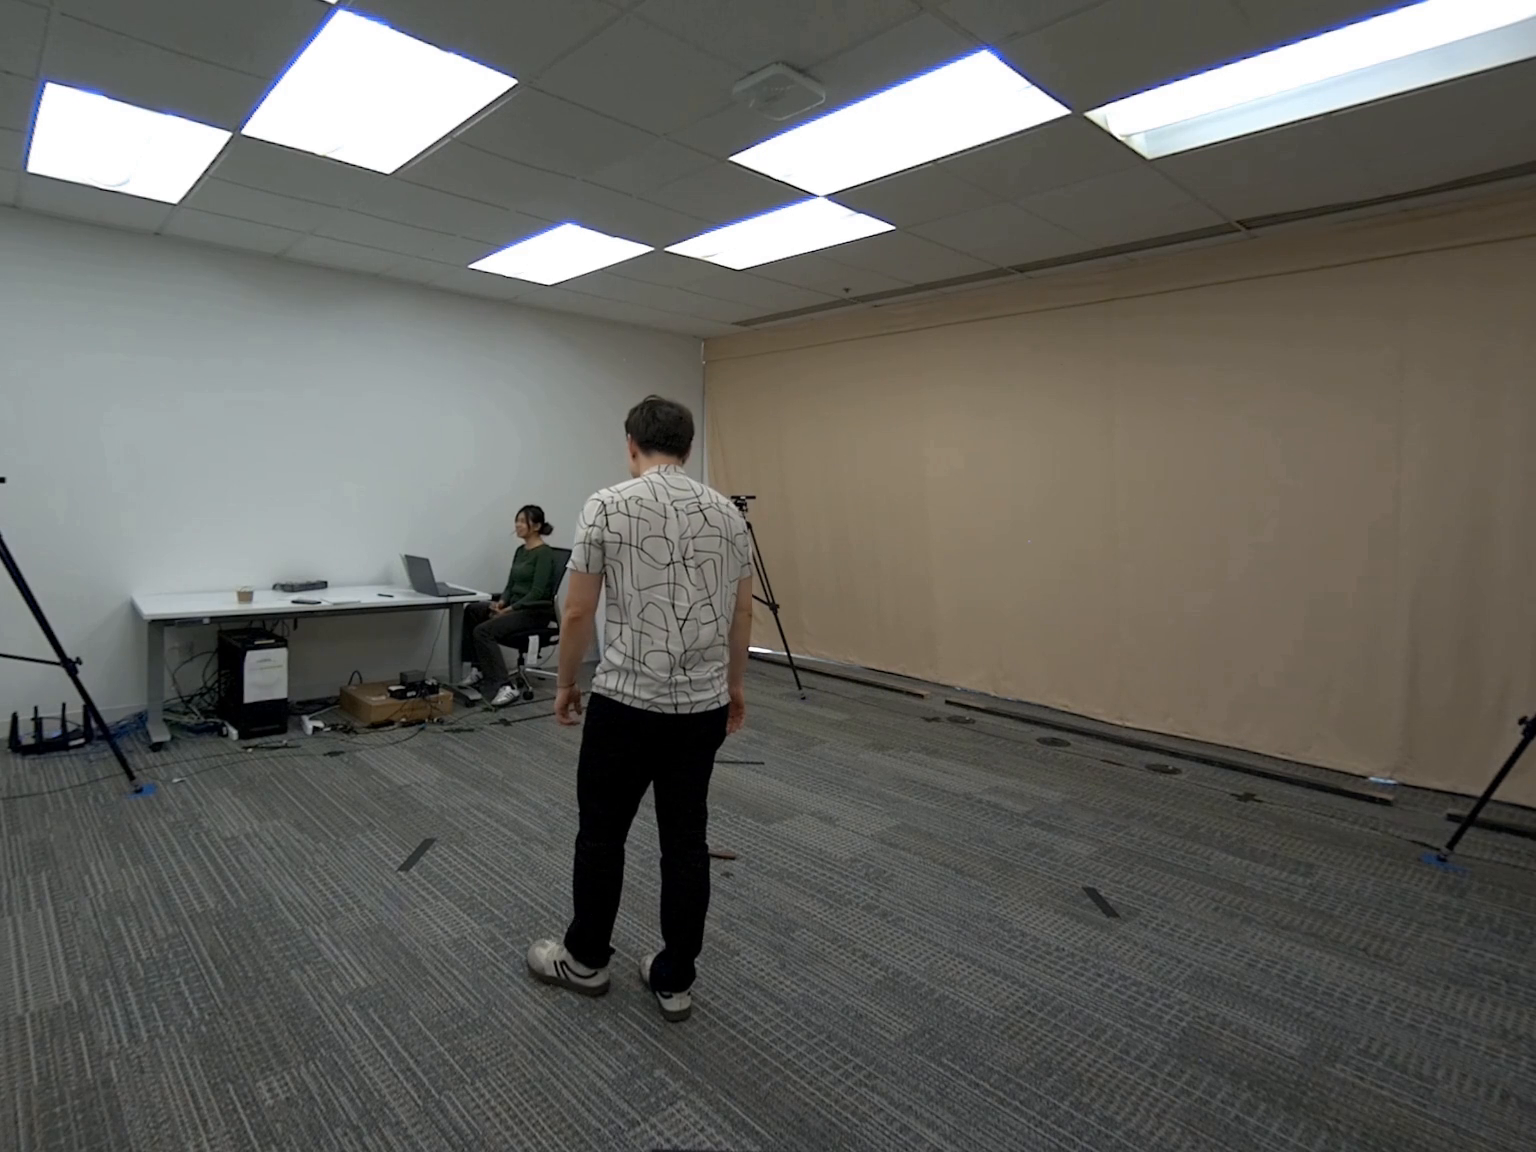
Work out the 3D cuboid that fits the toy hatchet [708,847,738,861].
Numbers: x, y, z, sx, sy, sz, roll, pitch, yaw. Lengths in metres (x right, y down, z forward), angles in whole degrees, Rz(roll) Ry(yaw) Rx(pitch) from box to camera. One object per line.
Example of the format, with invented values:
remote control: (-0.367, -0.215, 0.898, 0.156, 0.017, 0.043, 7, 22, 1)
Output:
toy hatchet: (-0.251, 1.074, 3.311, 0.273, 0.029, 0.129, 5, 0, 12)
